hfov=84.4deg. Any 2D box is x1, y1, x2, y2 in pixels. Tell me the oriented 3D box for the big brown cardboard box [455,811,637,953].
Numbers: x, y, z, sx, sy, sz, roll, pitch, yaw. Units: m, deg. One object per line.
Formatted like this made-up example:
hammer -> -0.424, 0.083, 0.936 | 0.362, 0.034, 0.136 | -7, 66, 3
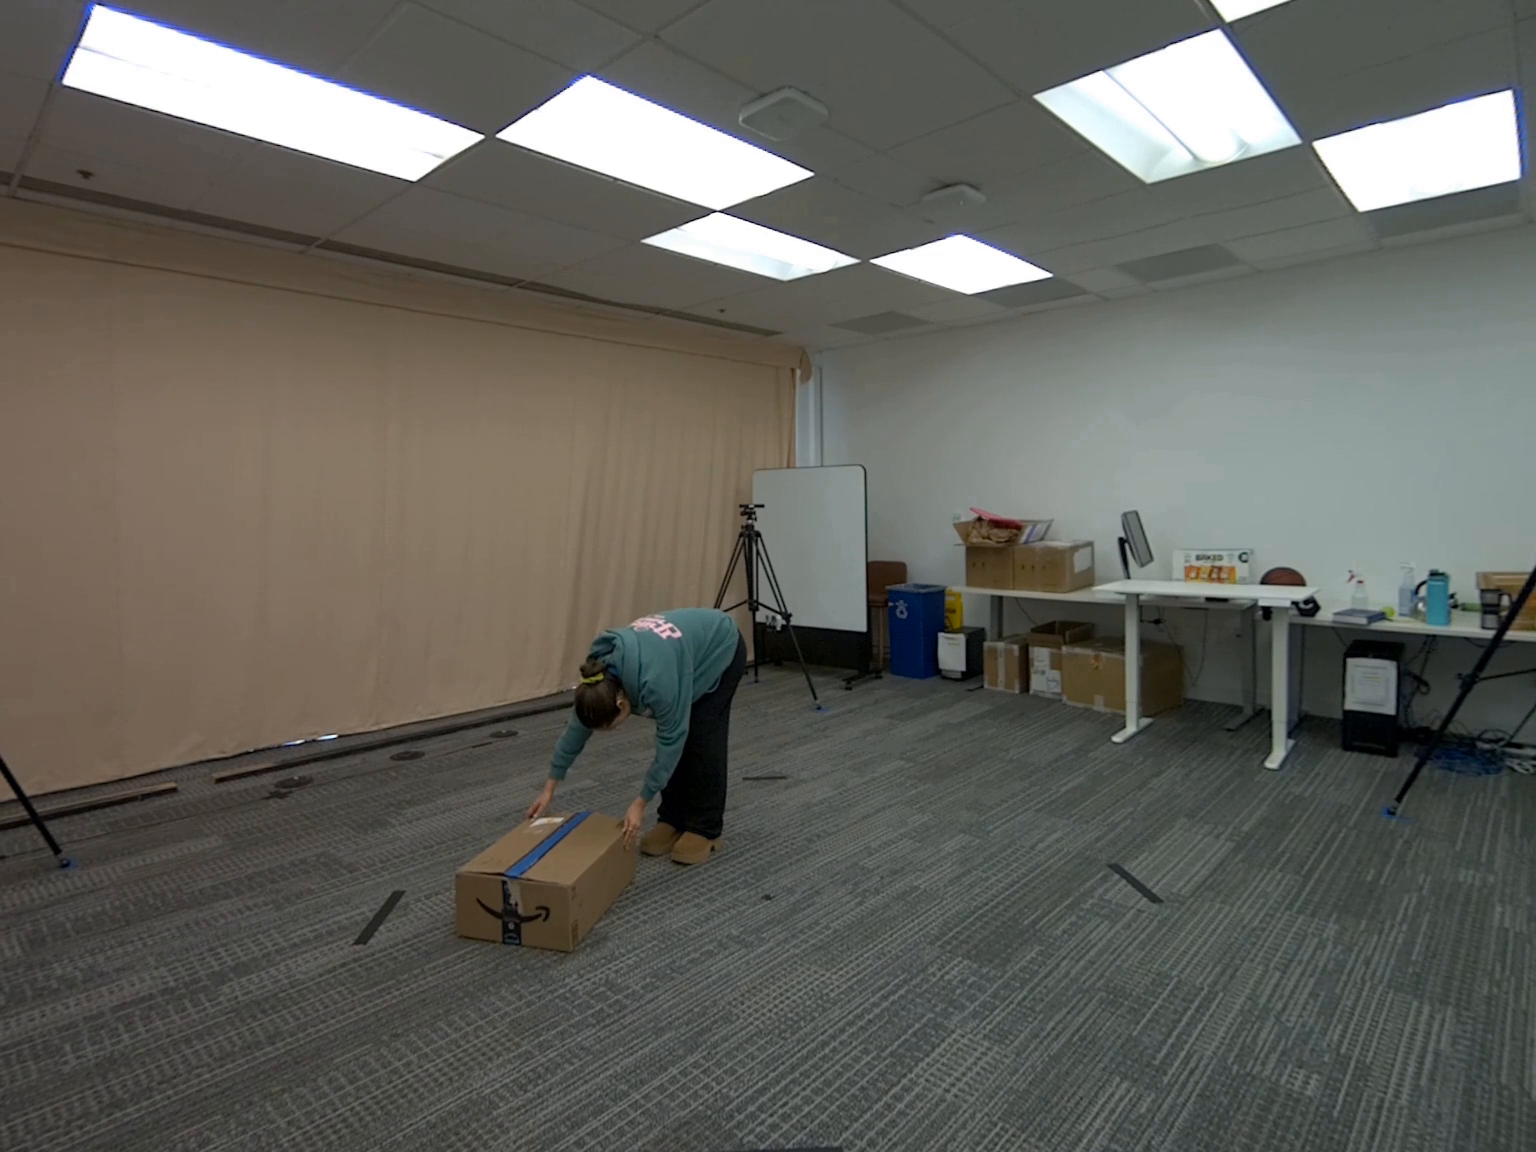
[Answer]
big brown cardboard box -> -0.752, 1.041, 2.964 | 0.424, 0.232, 0.581 | 0, 5, 14
